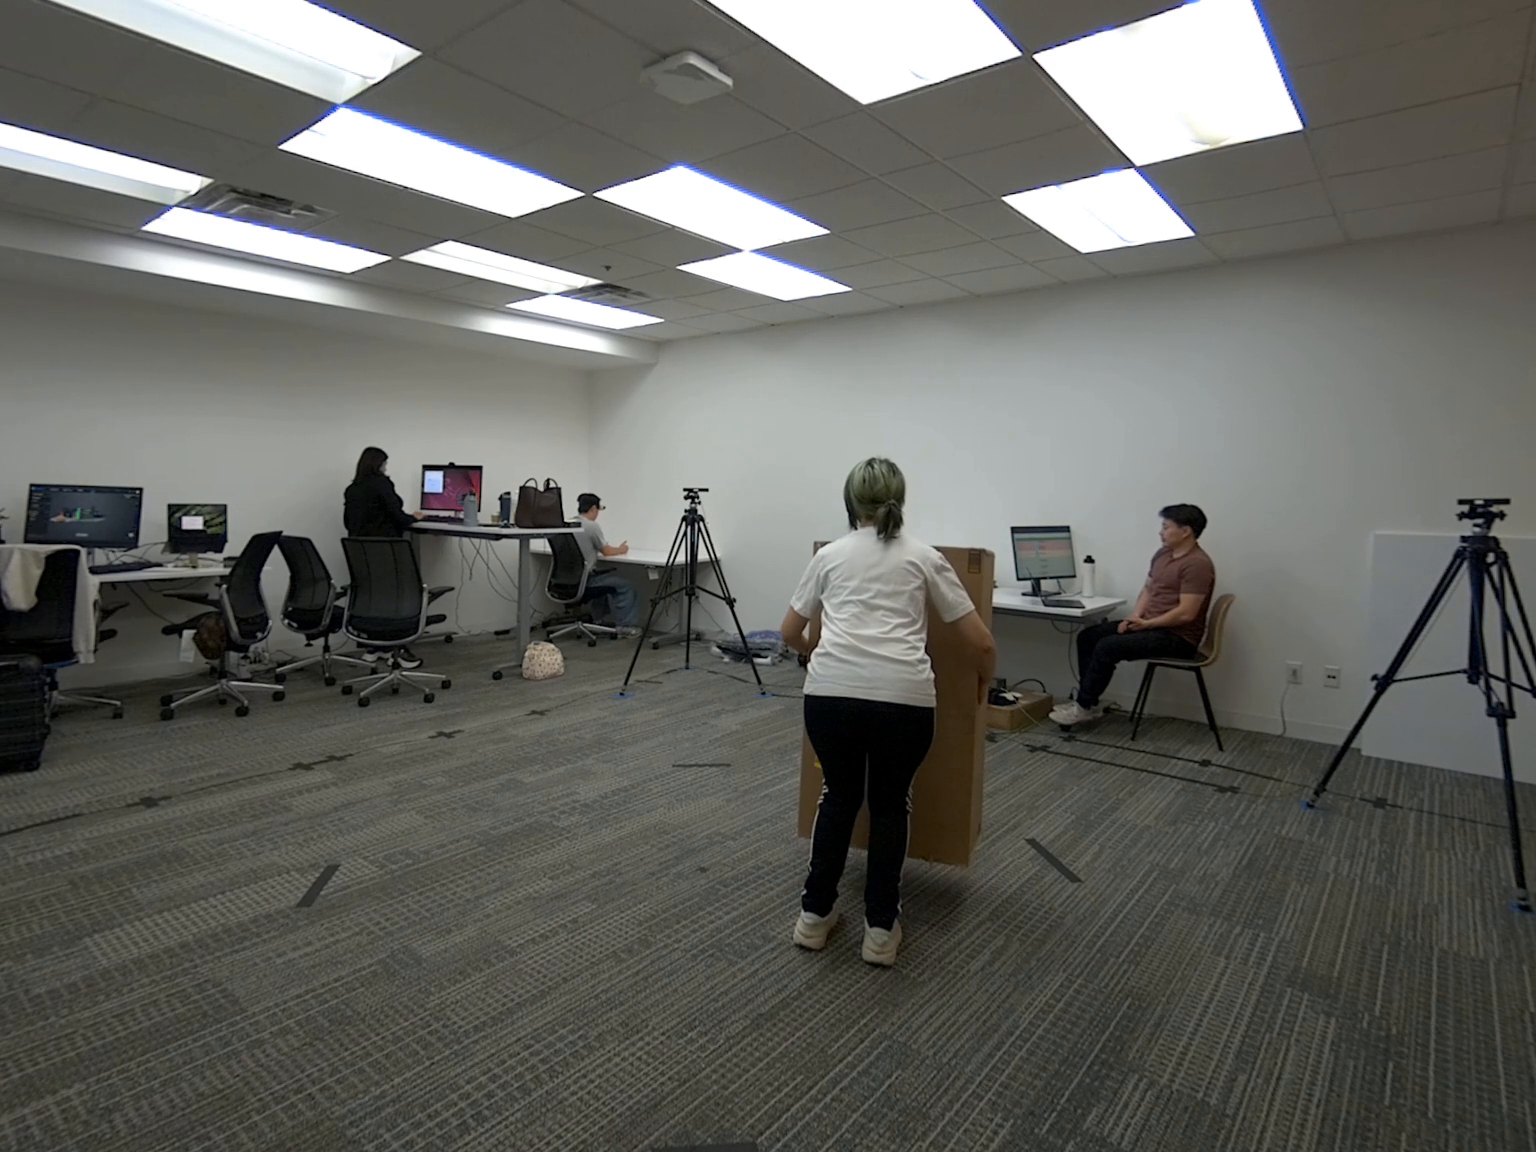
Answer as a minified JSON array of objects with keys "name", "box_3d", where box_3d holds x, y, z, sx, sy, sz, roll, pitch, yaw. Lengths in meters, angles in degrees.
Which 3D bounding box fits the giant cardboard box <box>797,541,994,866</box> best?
[{"name":"giant cardboard box","box_3d":[0.458,0.404,3.025,0.591,1.028,0.416,2,-2,21]}]
